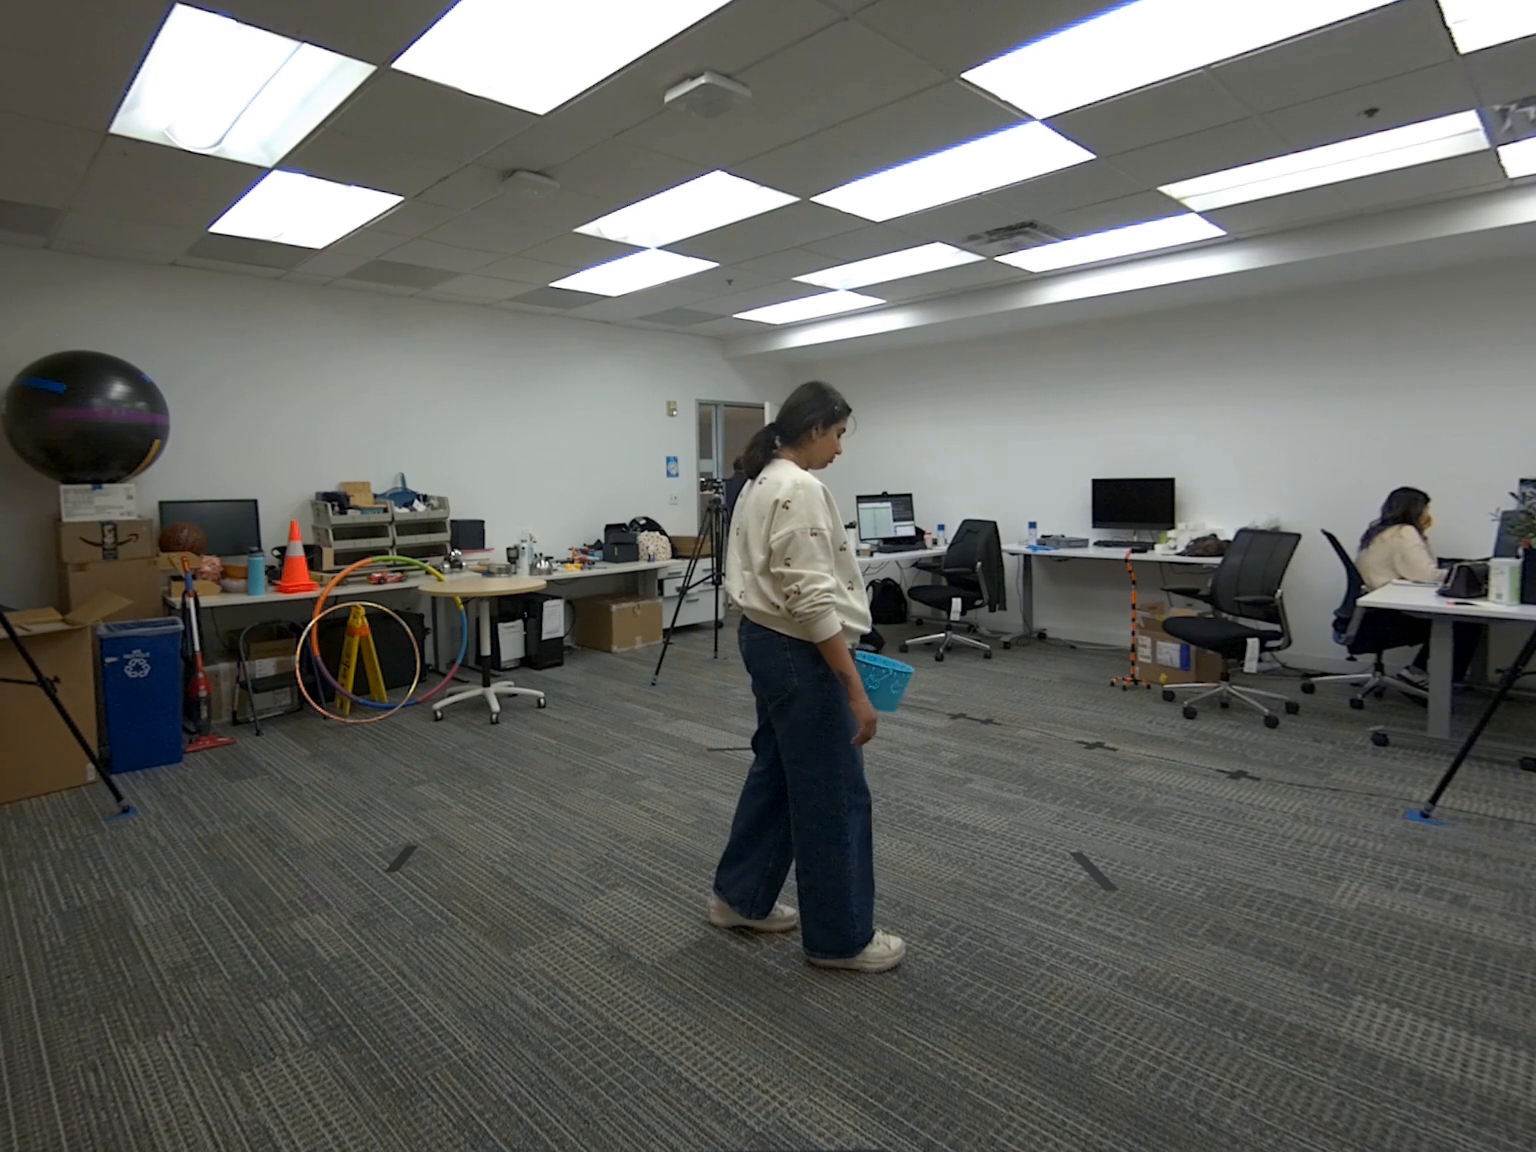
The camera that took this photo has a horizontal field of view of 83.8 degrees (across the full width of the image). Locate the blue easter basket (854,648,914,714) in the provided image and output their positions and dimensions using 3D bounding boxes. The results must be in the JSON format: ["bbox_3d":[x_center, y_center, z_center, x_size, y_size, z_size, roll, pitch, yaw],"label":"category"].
[{"bbox_3d":[0.339,0.364,2.884,0.243,0.156,0.244,12,2,-2],"label":"blue easter basket"}]
